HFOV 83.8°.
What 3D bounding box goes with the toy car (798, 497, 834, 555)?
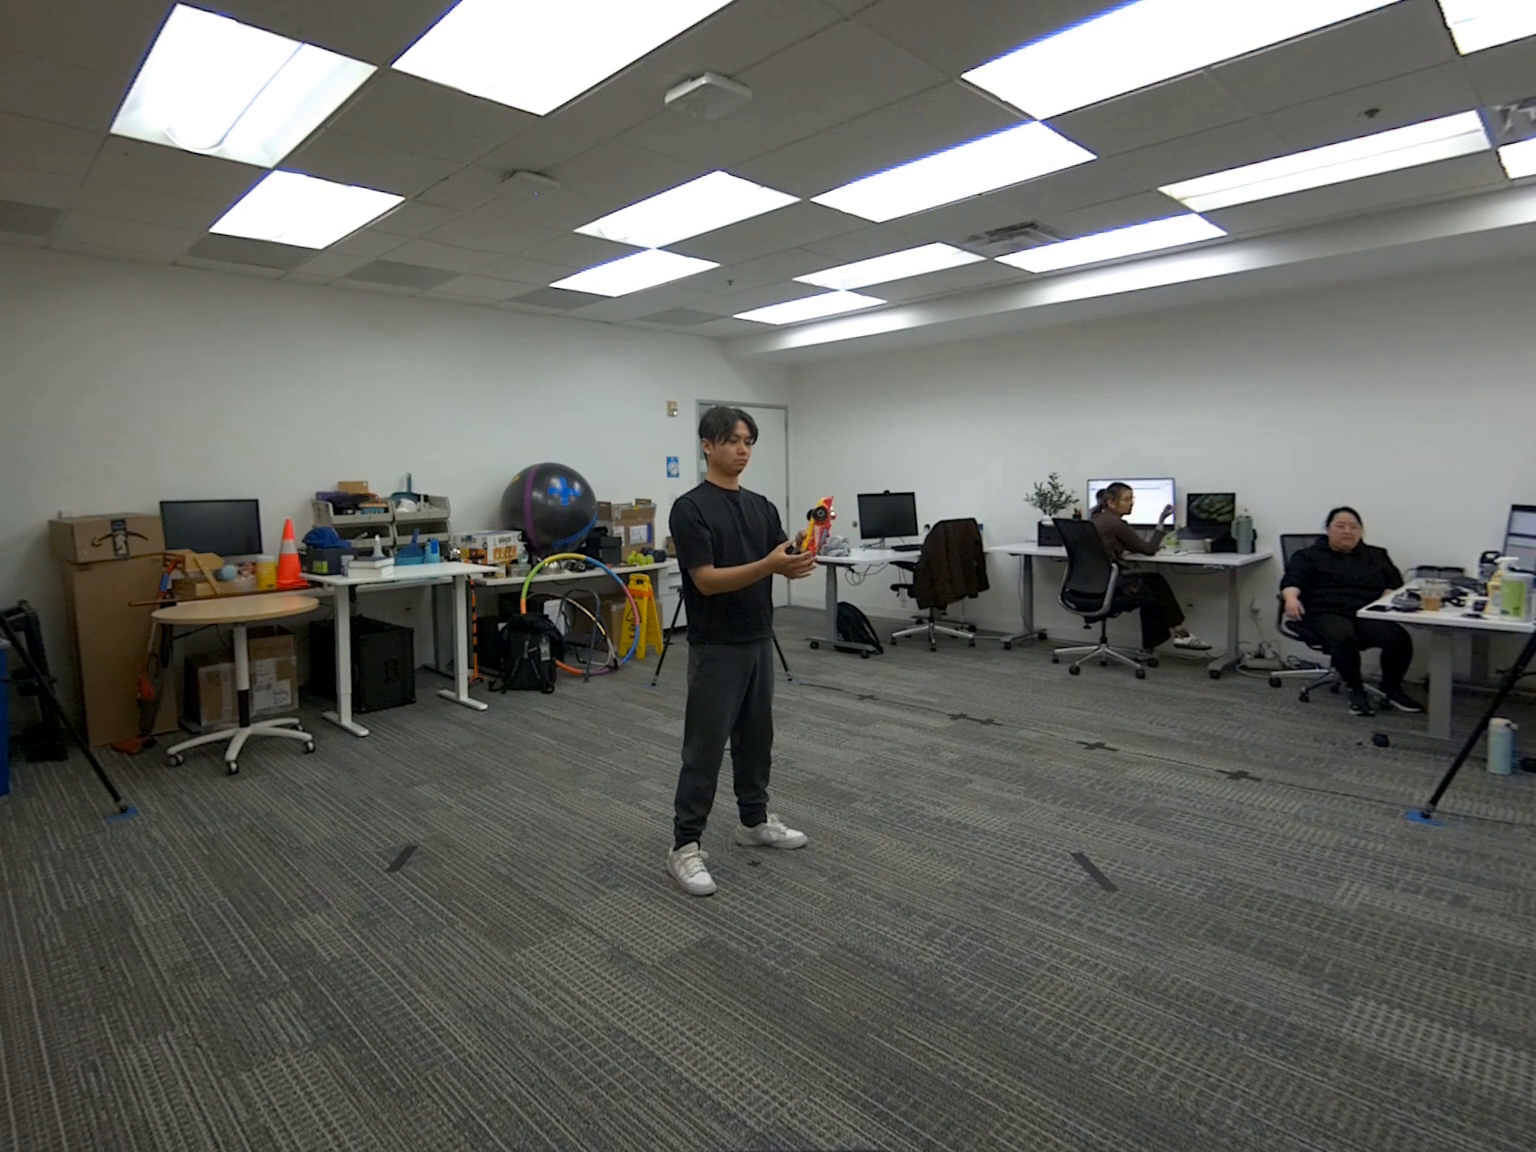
[{"bbox_3d":[0.160,-0.151,2.836,0.083,0.255,0.131,29,-5,-7],"label":"toy car"}]
